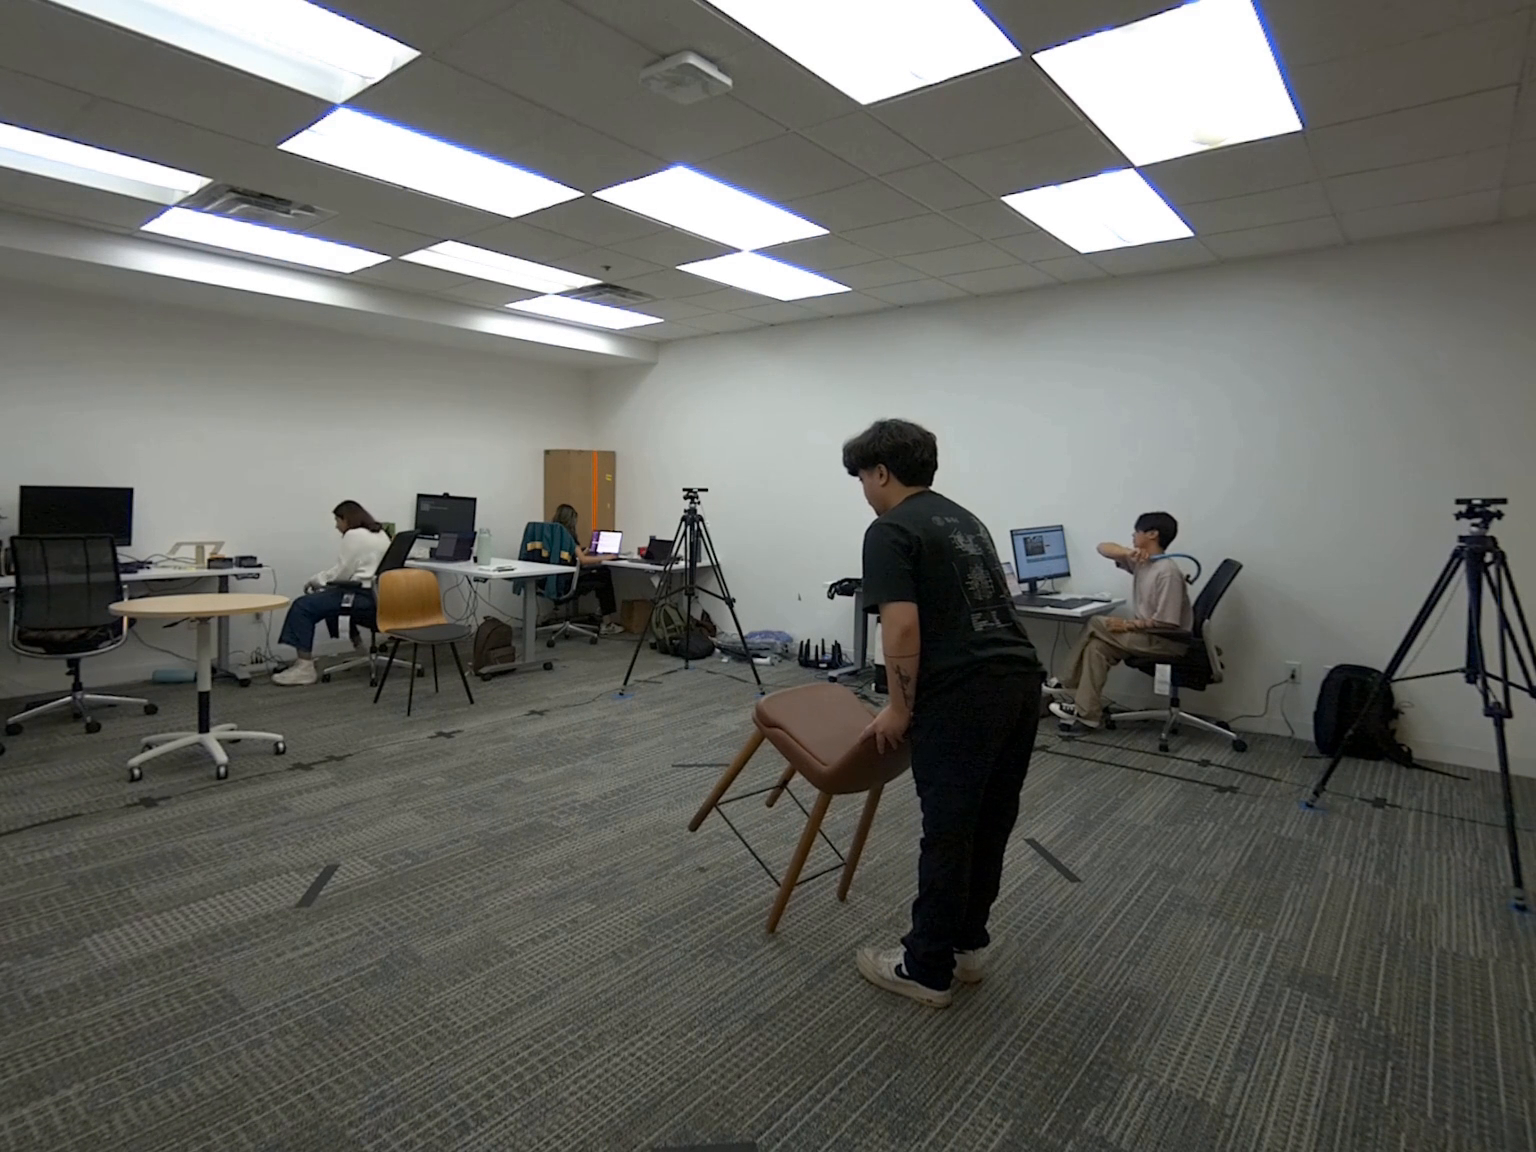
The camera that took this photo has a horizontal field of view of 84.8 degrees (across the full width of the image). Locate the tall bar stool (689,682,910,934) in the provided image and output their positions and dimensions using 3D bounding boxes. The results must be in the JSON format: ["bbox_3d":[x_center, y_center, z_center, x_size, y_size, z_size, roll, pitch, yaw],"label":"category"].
[{"bbox_3d":[0.159,0.628,2.742,0.442,0.881,0.487,-1,36,-44],"label":"tall bar stool"}]
